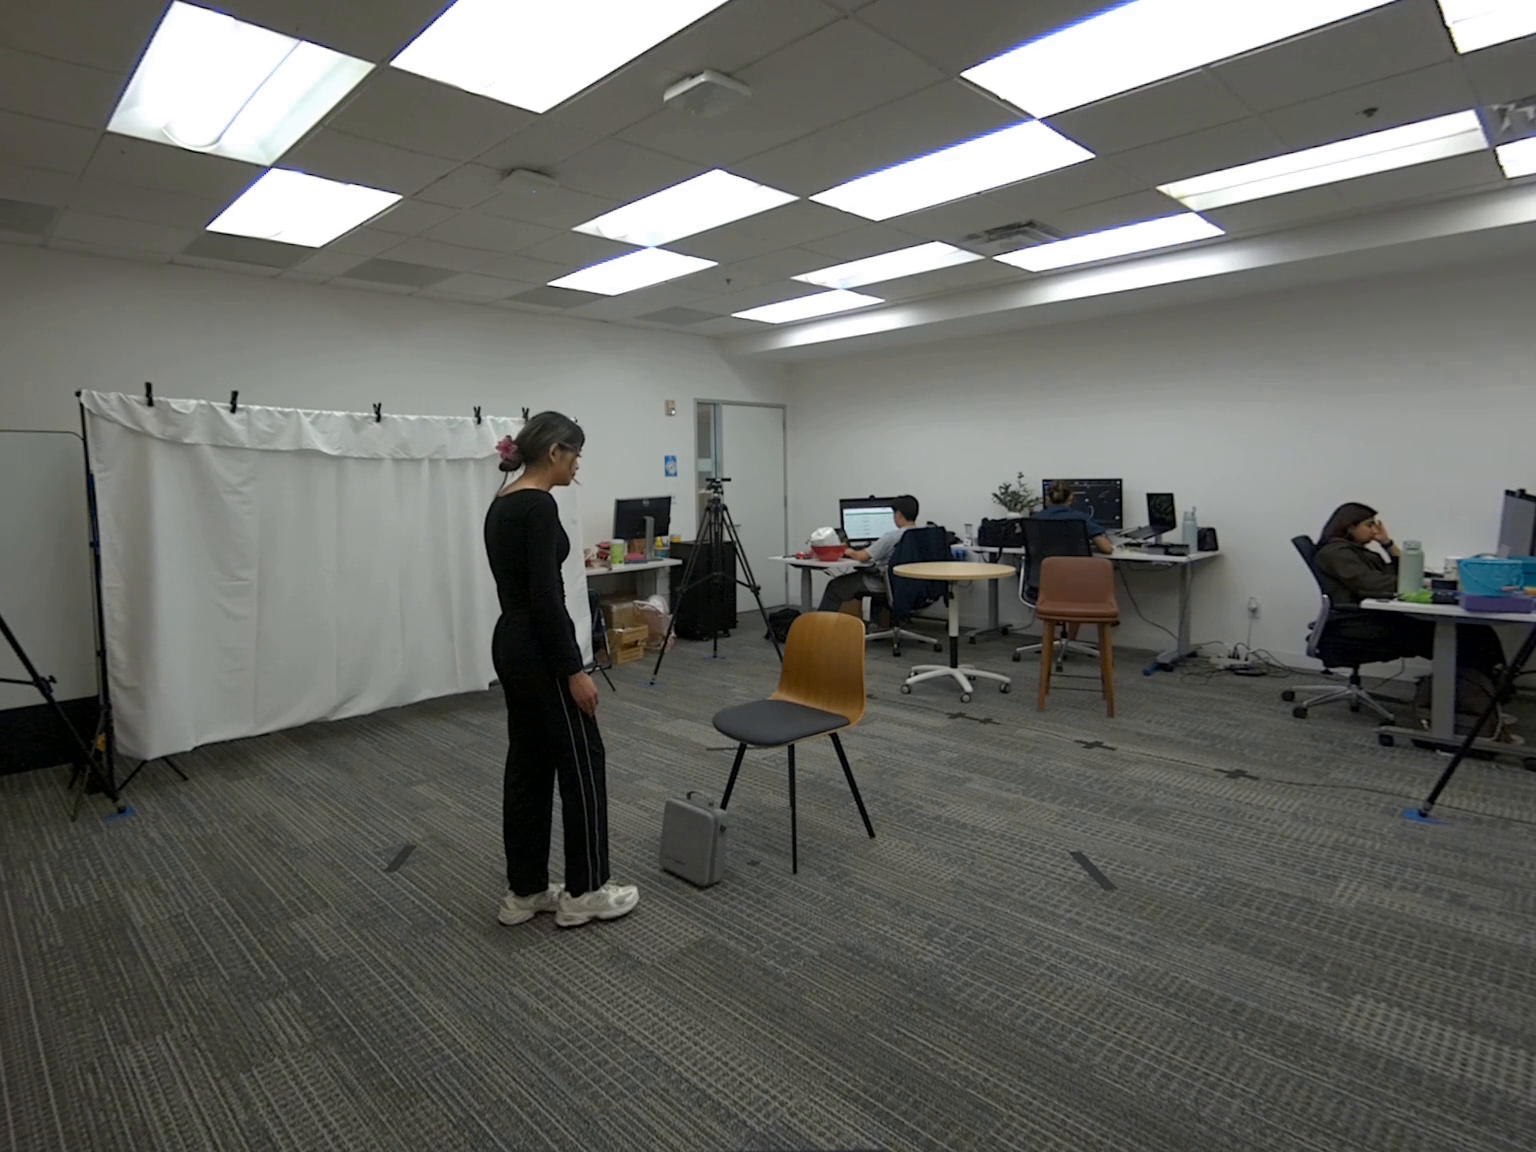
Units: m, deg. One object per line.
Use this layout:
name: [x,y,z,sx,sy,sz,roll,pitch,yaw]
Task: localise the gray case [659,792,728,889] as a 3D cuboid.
gray case: [-0.260,0.926,3.017,0.101,0.261,0.265,9,-3,-45]
